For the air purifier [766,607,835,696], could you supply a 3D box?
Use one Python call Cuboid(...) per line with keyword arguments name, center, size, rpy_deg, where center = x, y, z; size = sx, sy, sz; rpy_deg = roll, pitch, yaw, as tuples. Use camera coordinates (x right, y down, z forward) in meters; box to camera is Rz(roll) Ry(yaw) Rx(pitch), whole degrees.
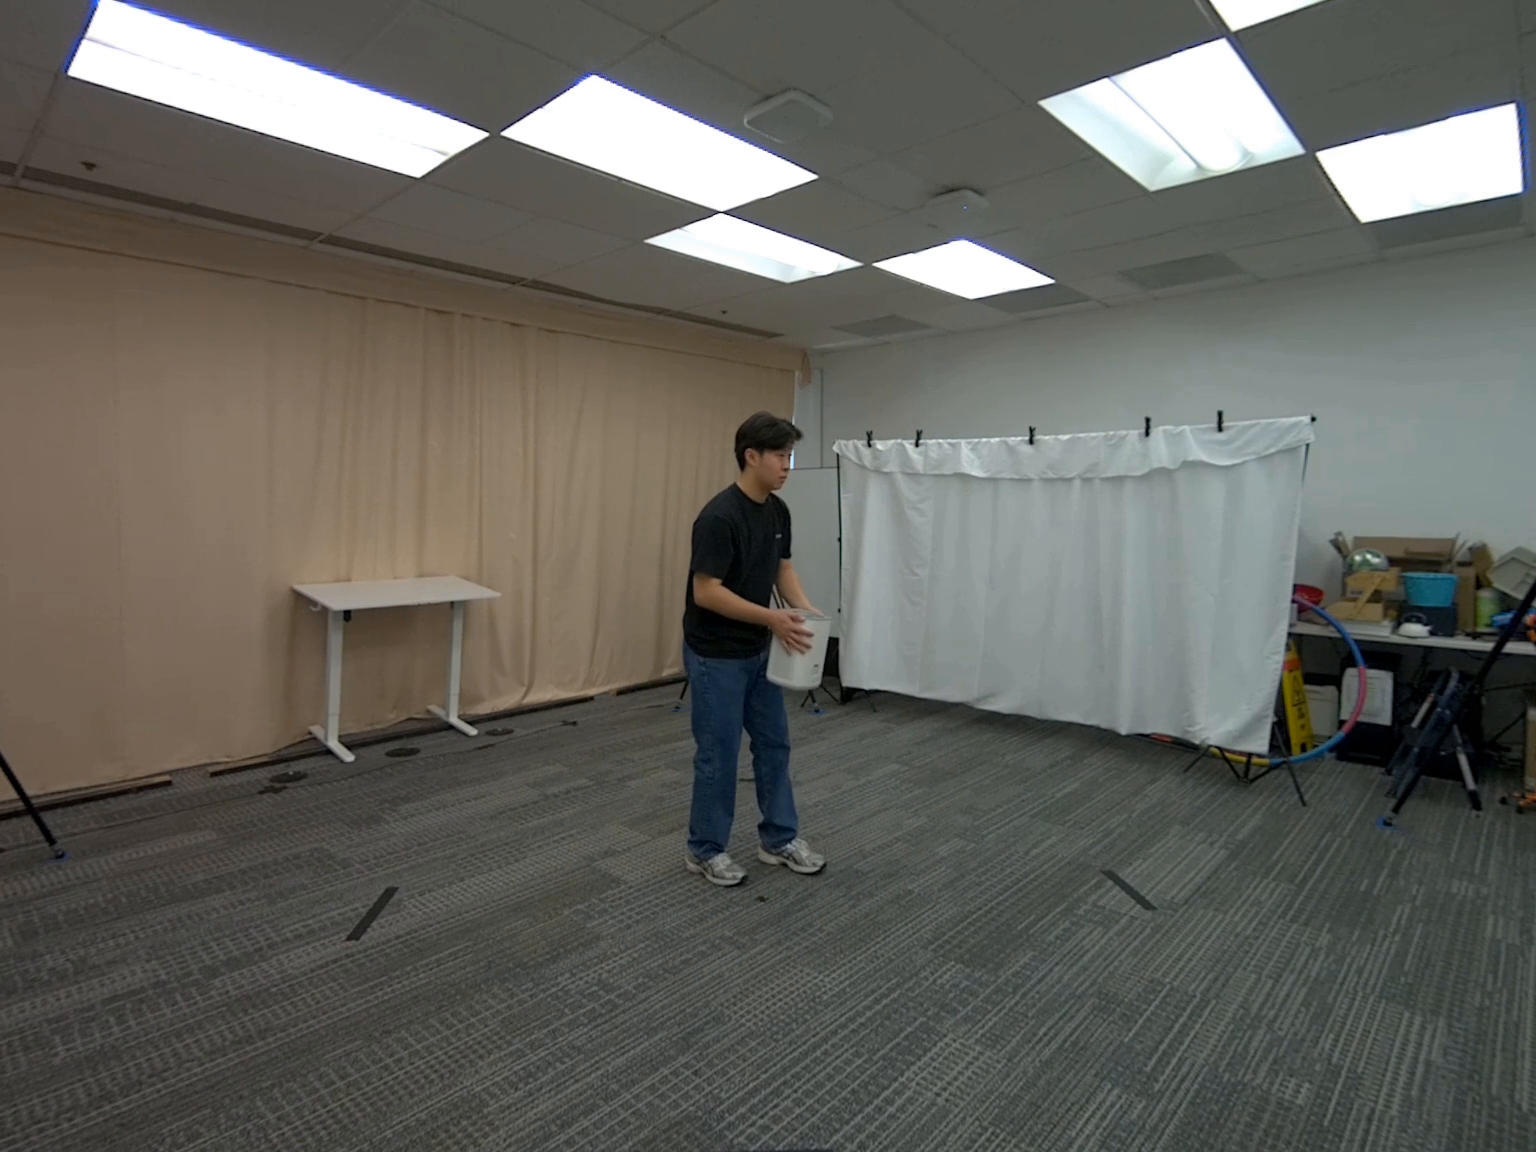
Cuboid(name="air purifier", center=(0.100, 0.263, 3.021), size=(0.177, 0.265, 0.166), rpy_deg=(12, 6, 34))
